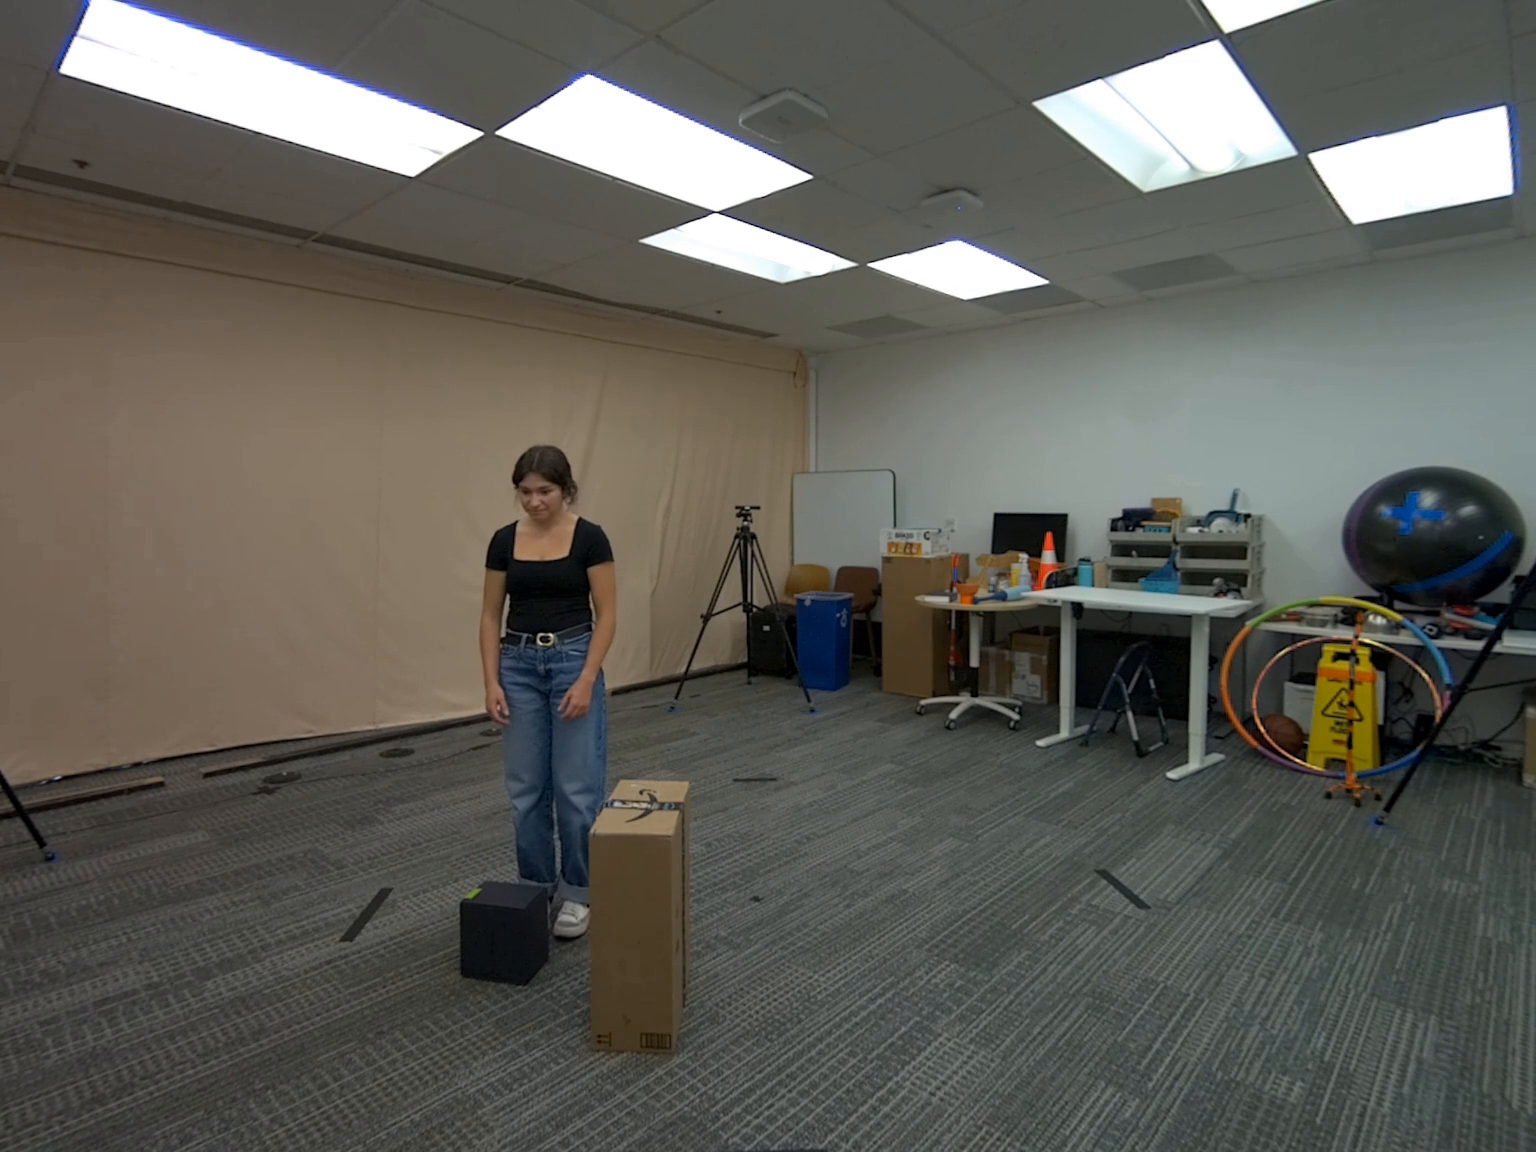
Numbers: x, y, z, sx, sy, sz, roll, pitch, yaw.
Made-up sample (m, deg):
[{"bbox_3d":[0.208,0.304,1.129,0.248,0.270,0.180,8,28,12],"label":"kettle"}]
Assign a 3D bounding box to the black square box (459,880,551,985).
[{"bbox_3d":[-0.795,1.062,2.545,0.220,0.227,0.154,0,3,13],"label":"black square box"}]
